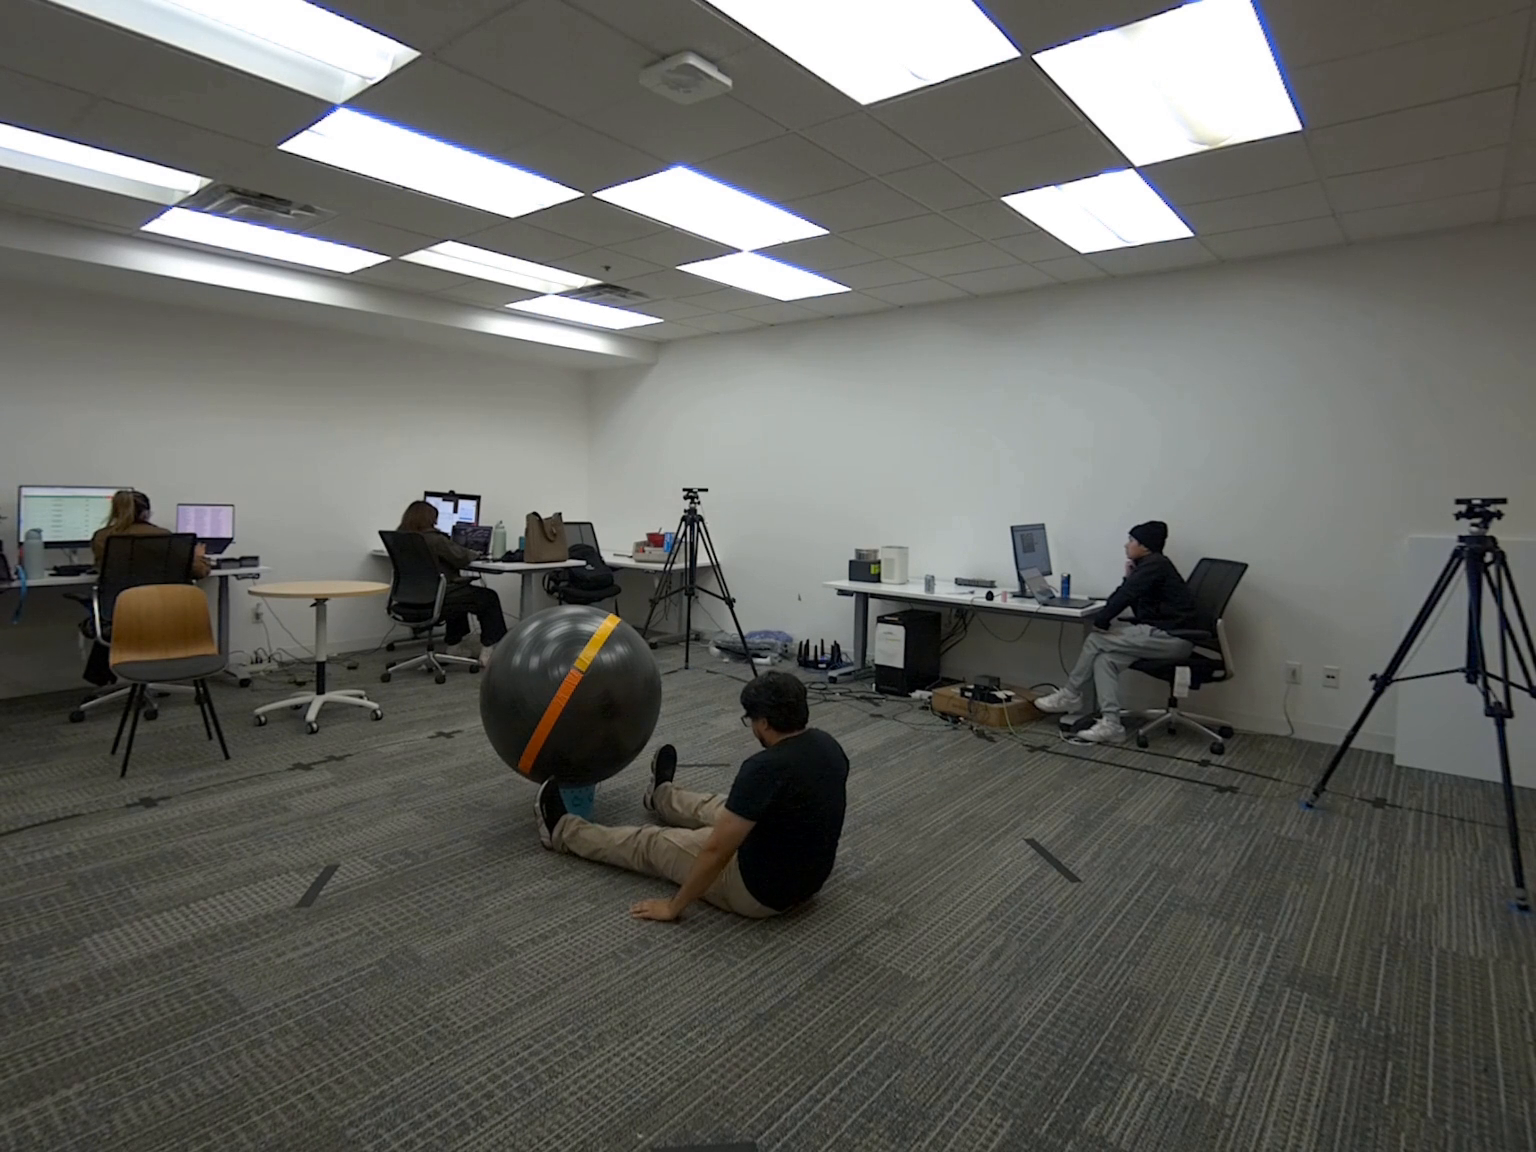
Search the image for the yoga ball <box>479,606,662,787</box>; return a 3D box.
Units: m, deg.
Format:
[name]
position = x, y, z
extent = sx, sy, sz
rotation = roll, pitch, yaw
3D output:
[yoga ball]
position = -0.842, 0.505, 3.595
extent = 0.757, 0.755, 0.762
rotation = 1, 4, -2
